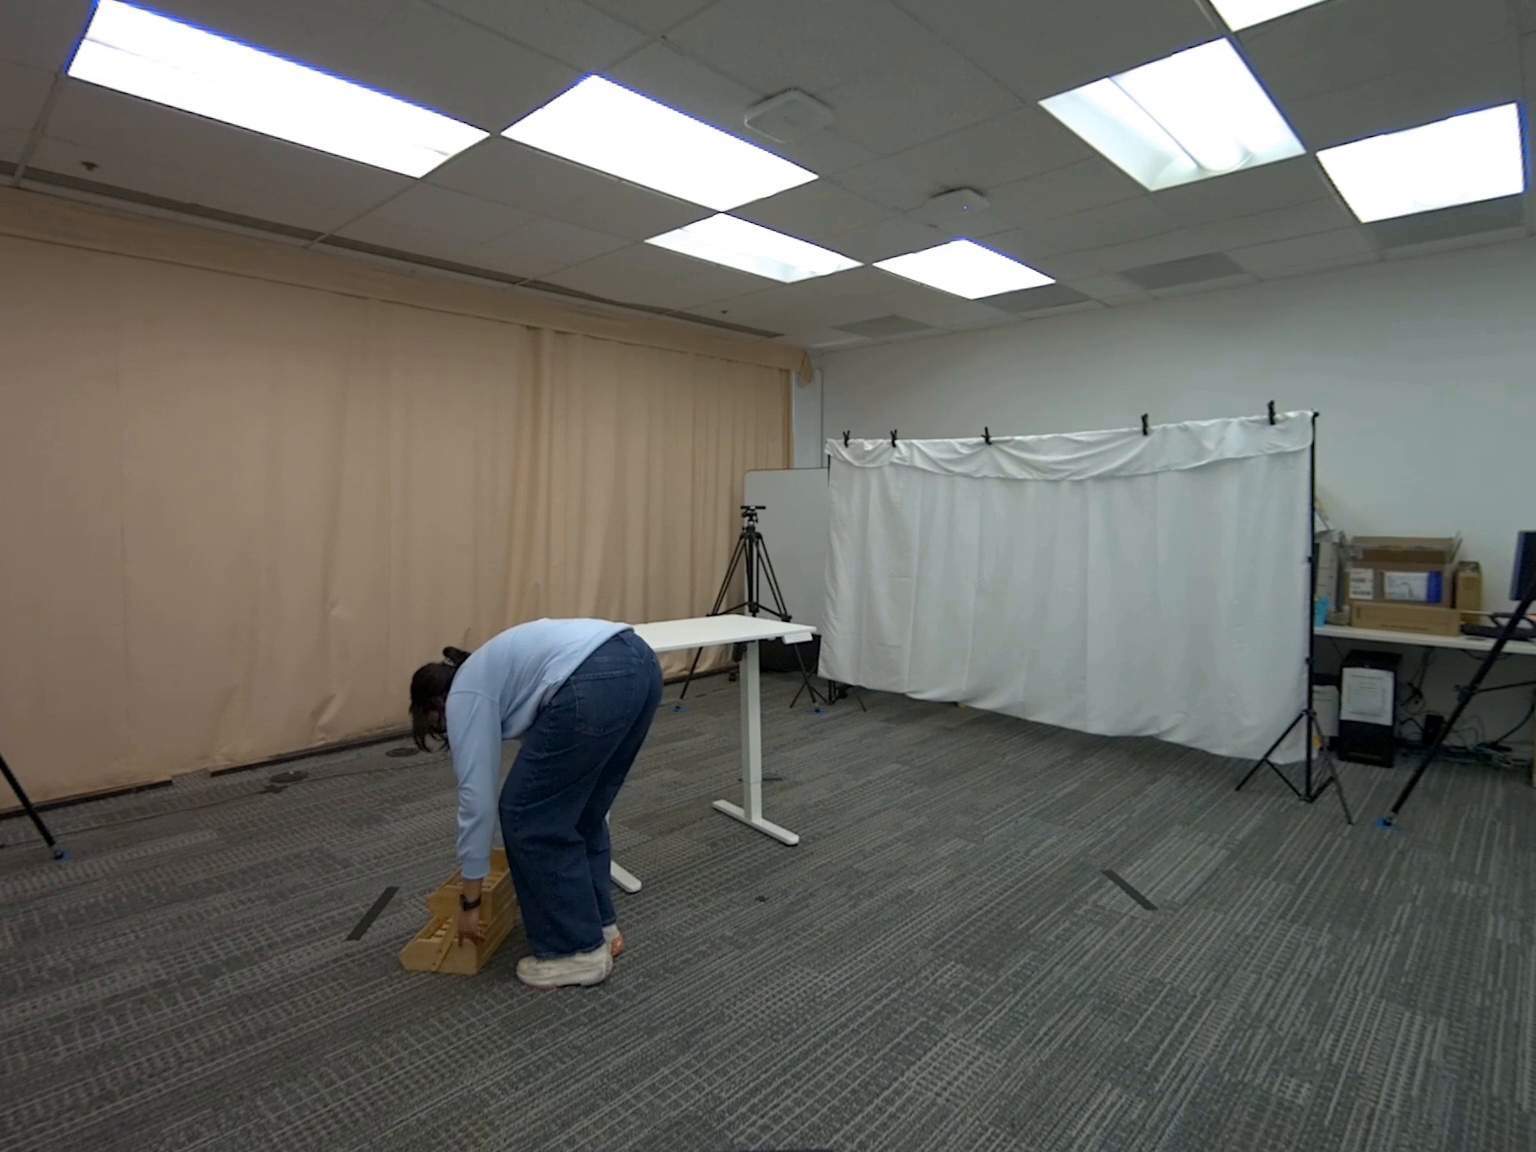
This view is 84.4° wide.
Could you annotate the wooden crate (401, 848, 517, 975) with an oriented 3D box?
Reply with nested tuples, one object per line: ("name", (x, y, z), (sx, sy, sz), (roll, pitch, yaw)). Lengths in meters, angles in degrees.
("wooden crate", (-0.959, 1.046, 2.661), (0.304, 0.272, 0.323), (0, 5, 7))
